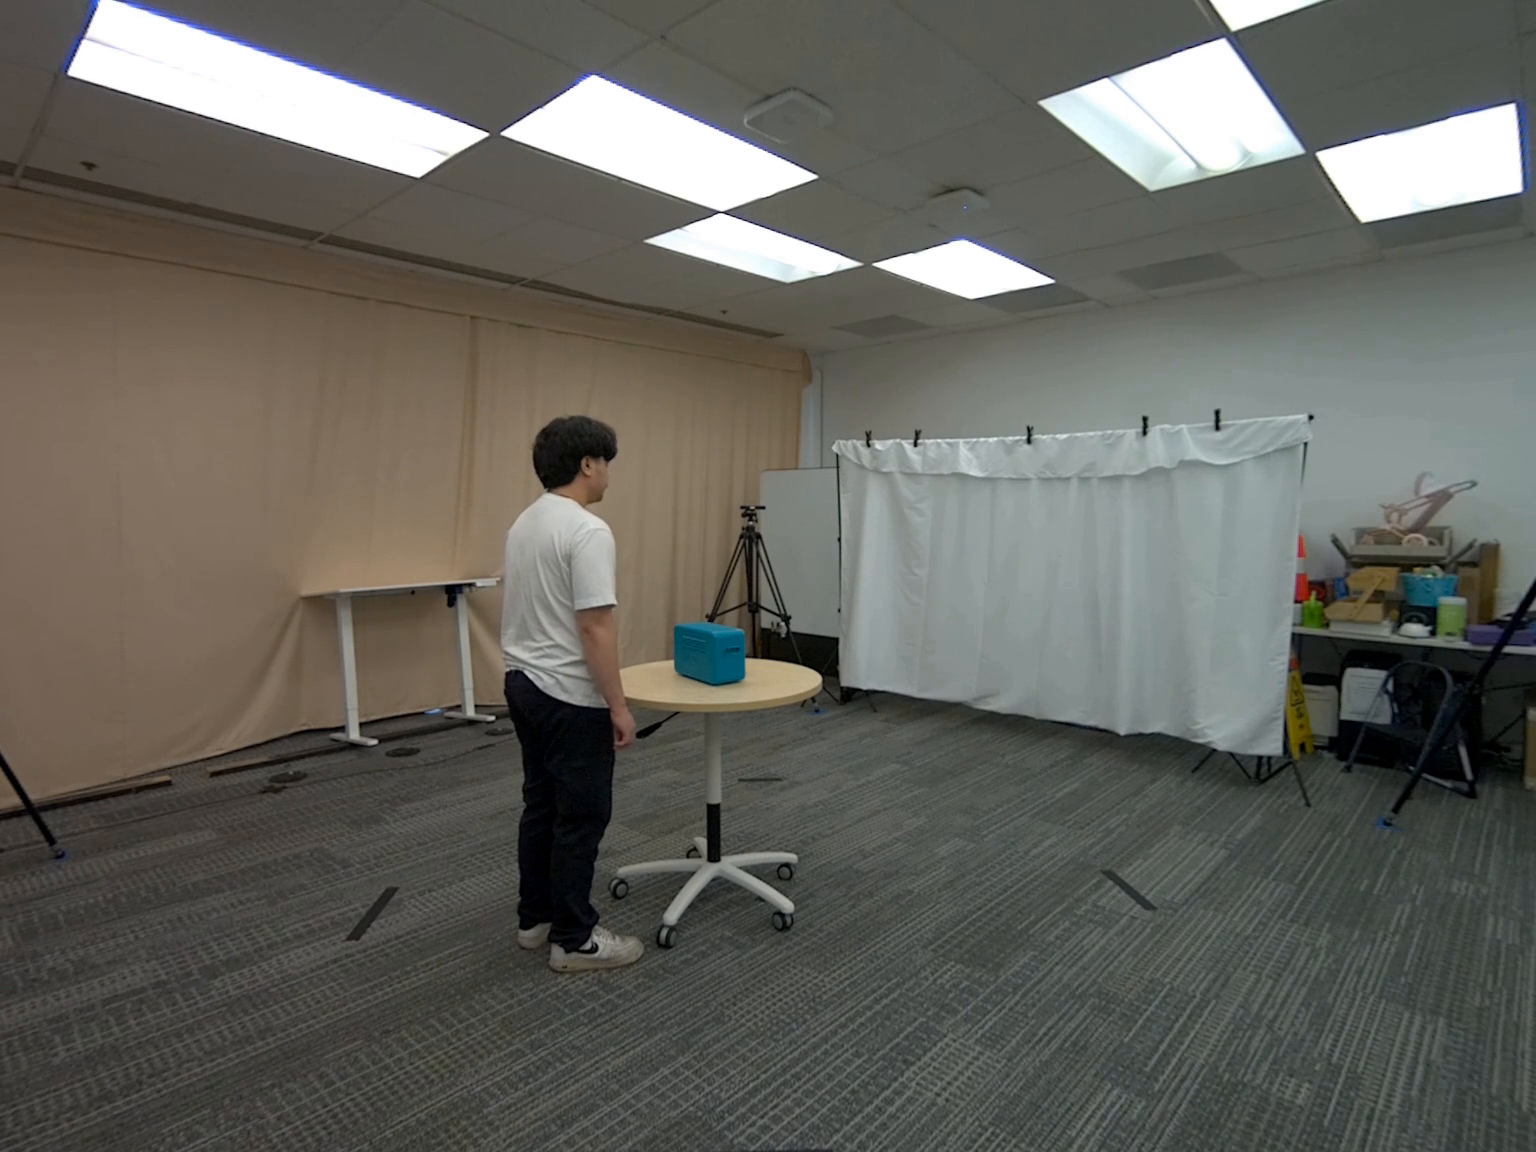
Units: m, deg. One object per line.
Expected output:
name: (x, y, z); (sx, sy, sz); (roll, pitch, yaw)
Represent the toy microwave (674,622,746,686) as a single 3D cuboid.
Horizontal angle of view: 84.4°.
toy microwave: (-0.200, 0.264, 2.936); (0.148, 0.184, 0.295); (-3, 4, -34)
